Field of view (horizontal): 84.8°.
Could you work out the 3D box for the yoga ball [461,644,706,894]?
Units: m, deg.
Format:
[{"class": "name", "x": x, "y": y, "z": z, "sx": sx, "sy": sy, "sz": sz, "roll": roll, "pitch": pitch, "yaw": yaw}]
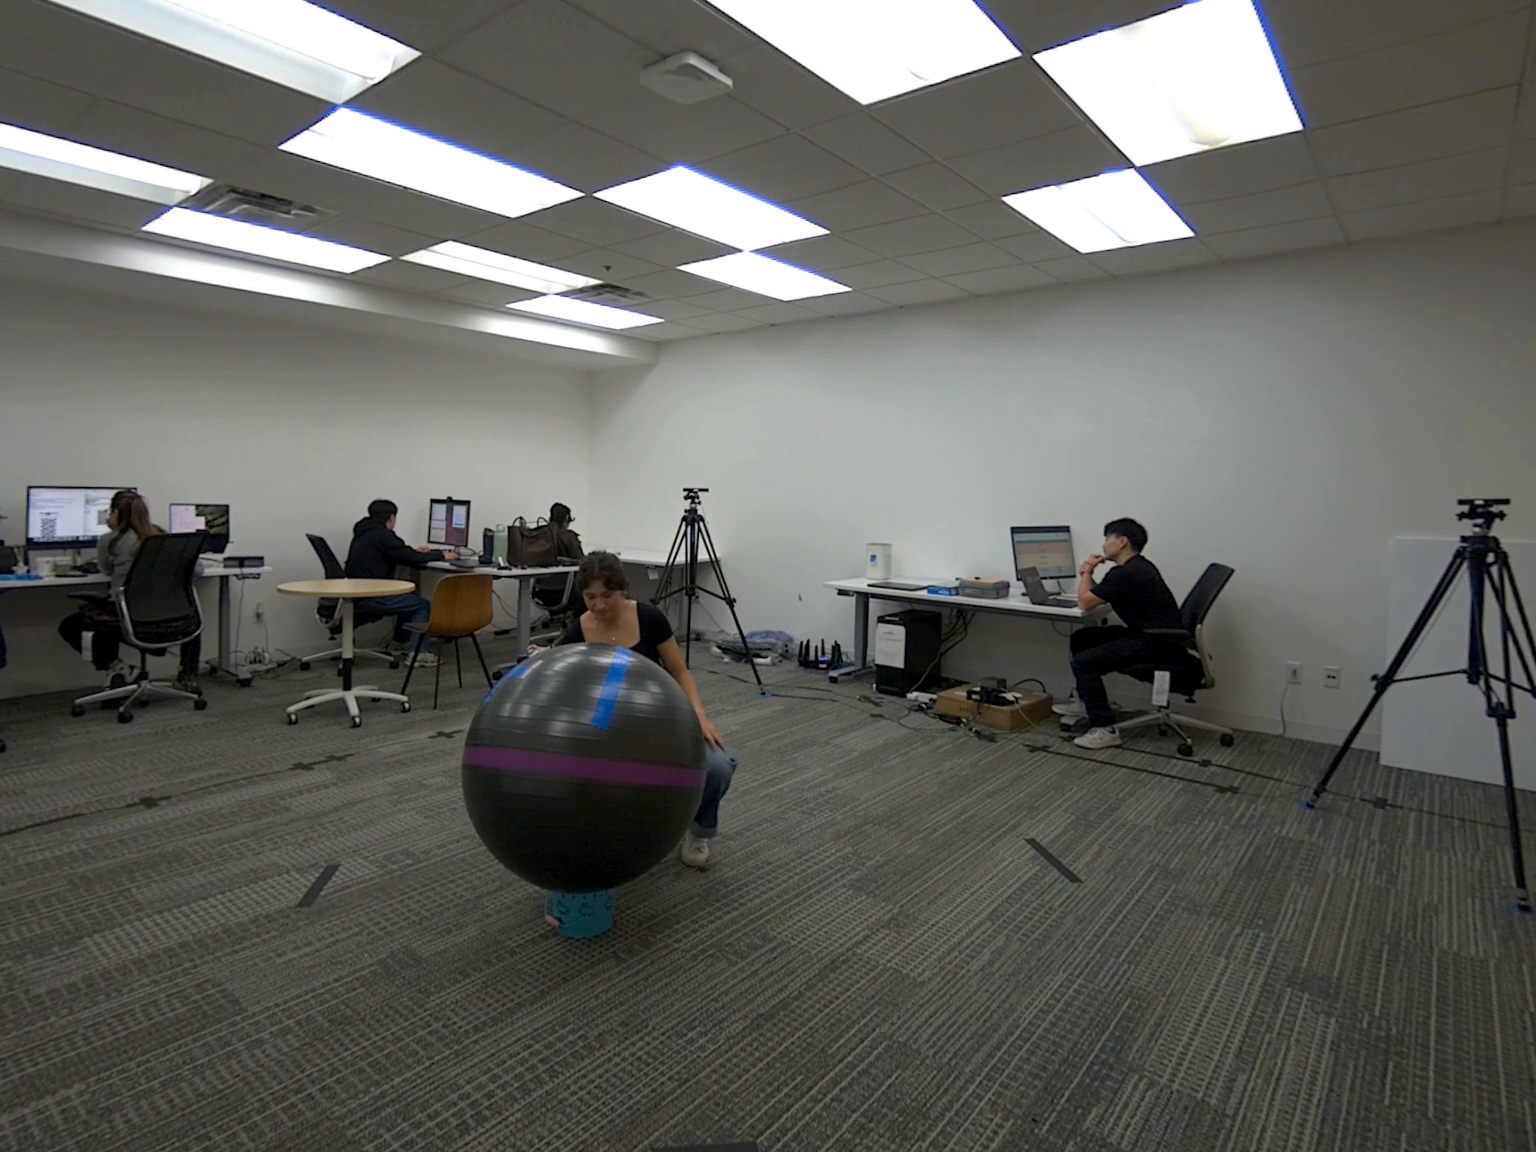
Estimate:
[{"class": "yoga ball", "x": -0.593, "y": 0.593, "z": 2.691, "sx": 0.757, "sy": 0.756, "sz": 0.761, "roll": 1, "pitch": 4, "yaw": -2}]
